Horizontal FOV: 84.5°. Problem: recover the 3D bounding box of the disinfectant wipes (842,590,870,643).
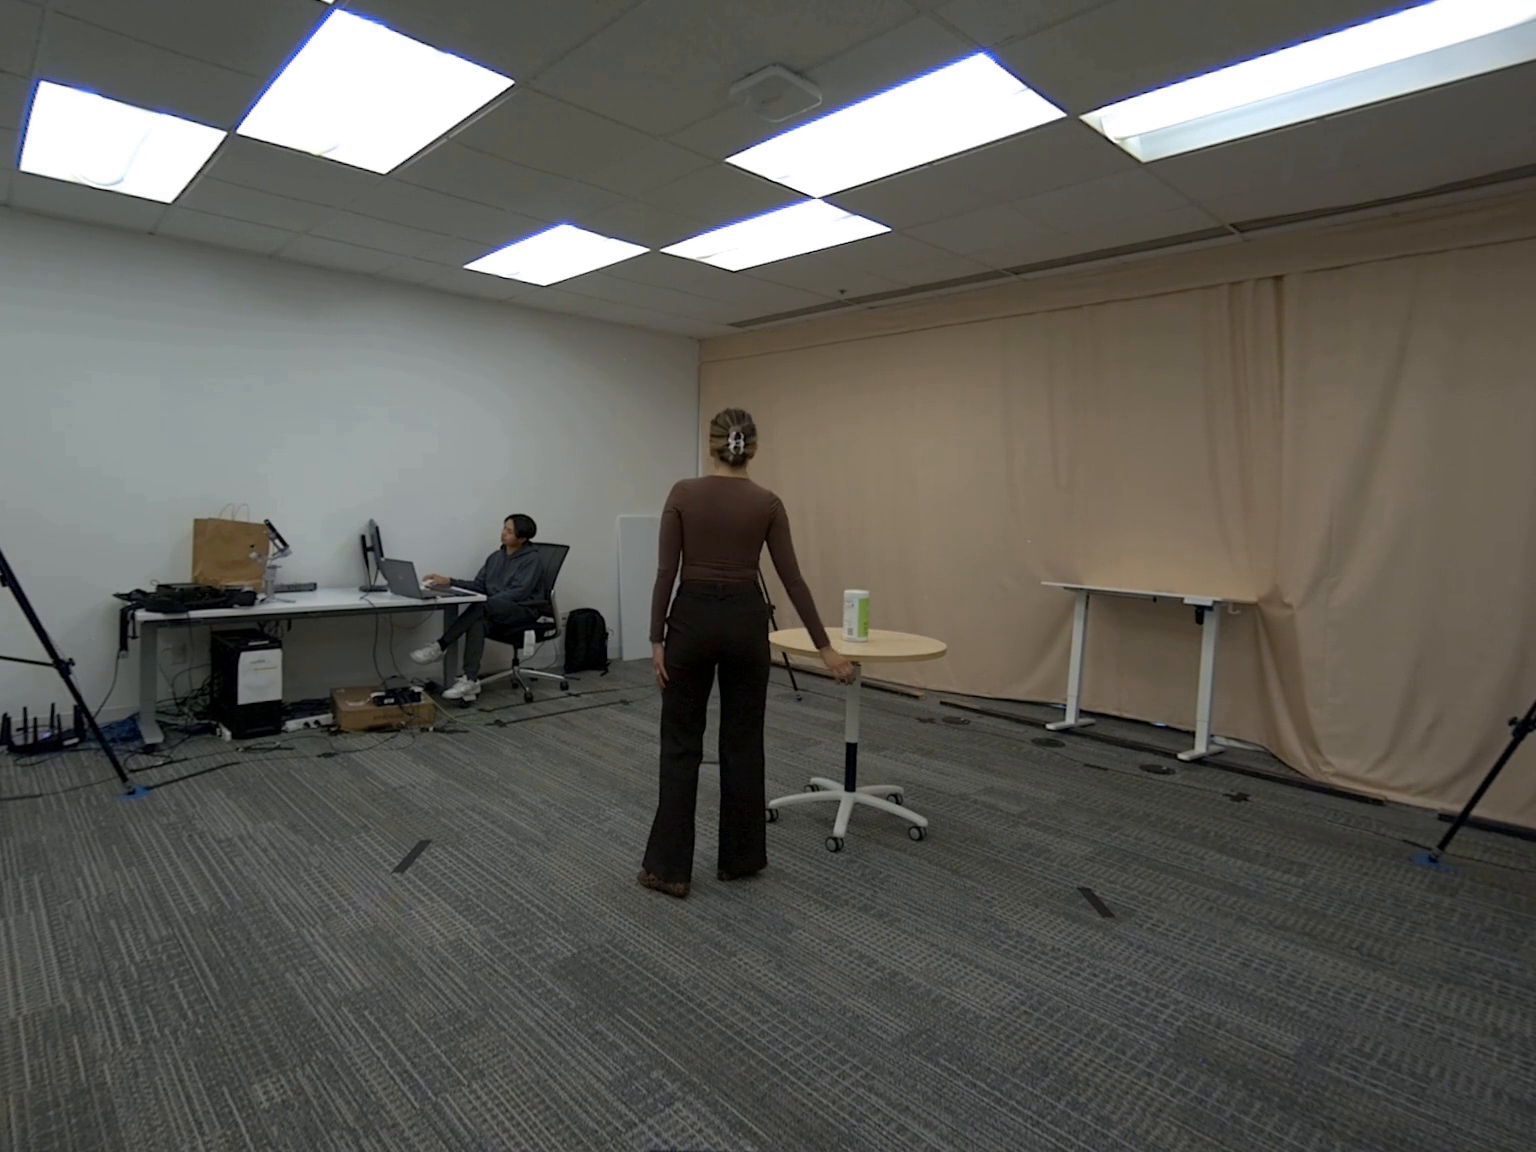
[{"bbox_3d":[0.375,0.172,3.619,0.118,0.217,0.118,1,2,-1],"label":"disinfectant wipes"}]
